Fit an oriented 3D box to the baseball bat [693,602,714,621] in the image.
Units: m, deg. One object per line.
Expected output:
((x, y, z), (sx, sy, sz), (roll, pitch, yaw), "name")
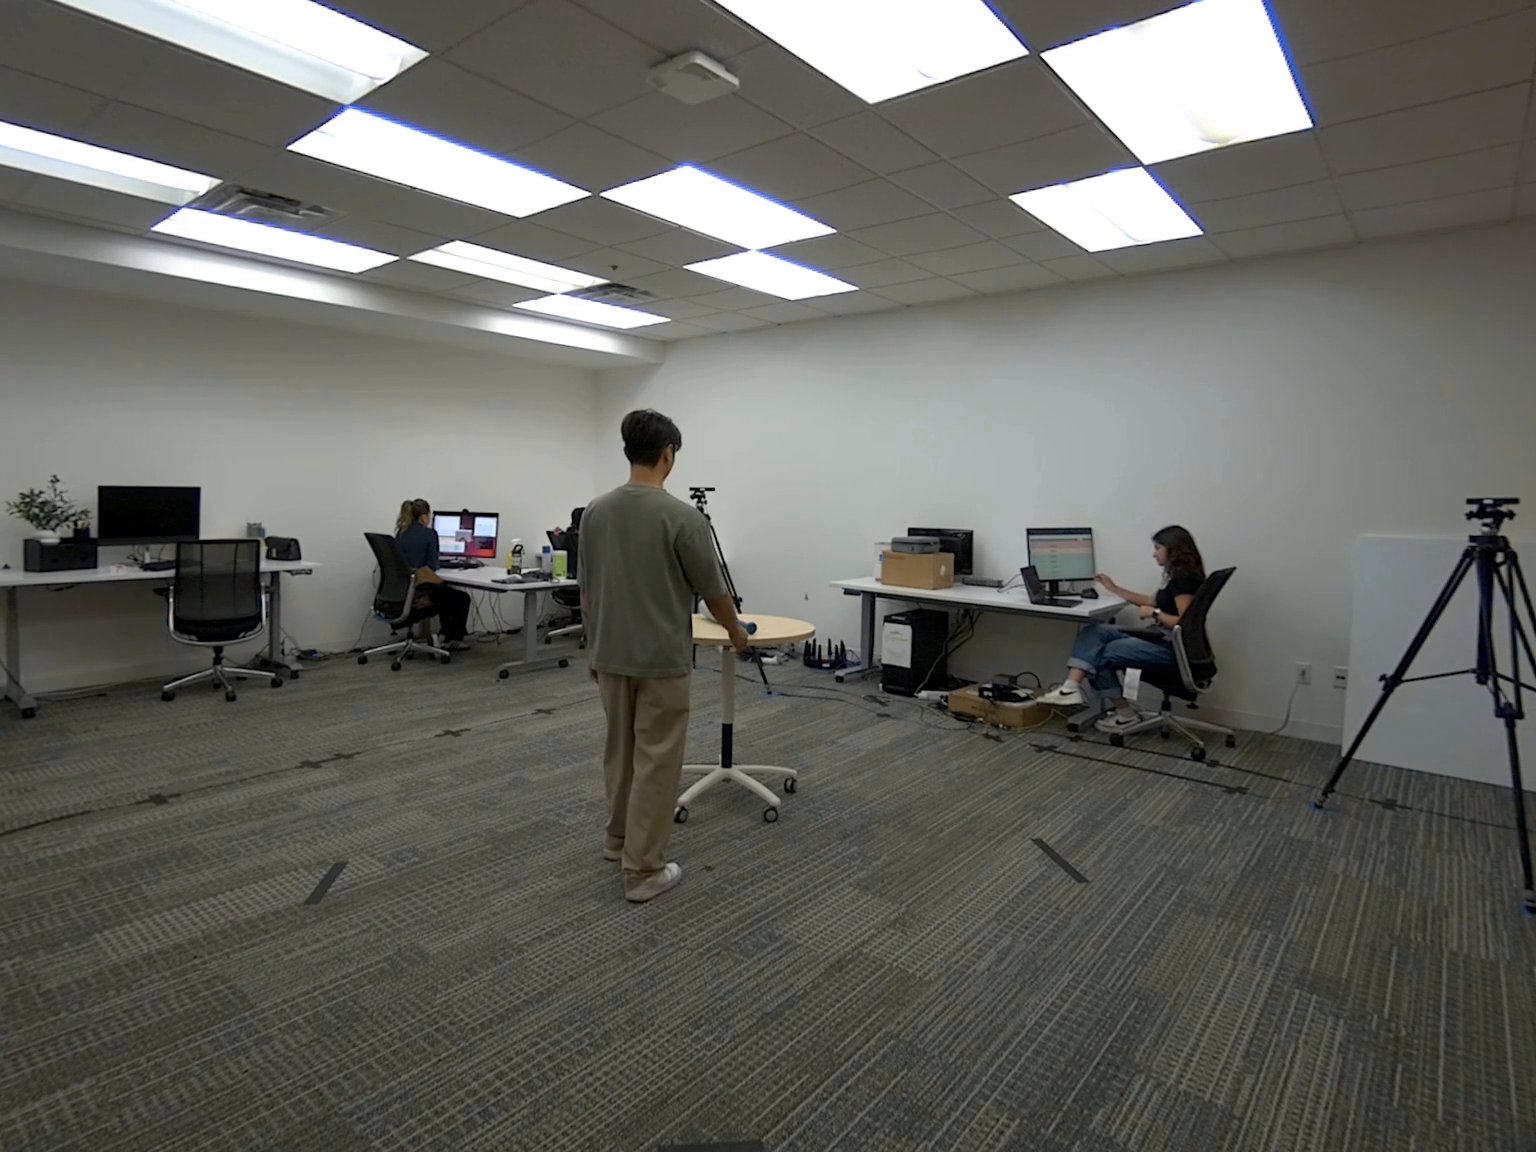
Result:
((-0.188, 0.180, 3.789), (0.087, 0.088, 0.558), (-1, 8, -24), "baseball bat")
